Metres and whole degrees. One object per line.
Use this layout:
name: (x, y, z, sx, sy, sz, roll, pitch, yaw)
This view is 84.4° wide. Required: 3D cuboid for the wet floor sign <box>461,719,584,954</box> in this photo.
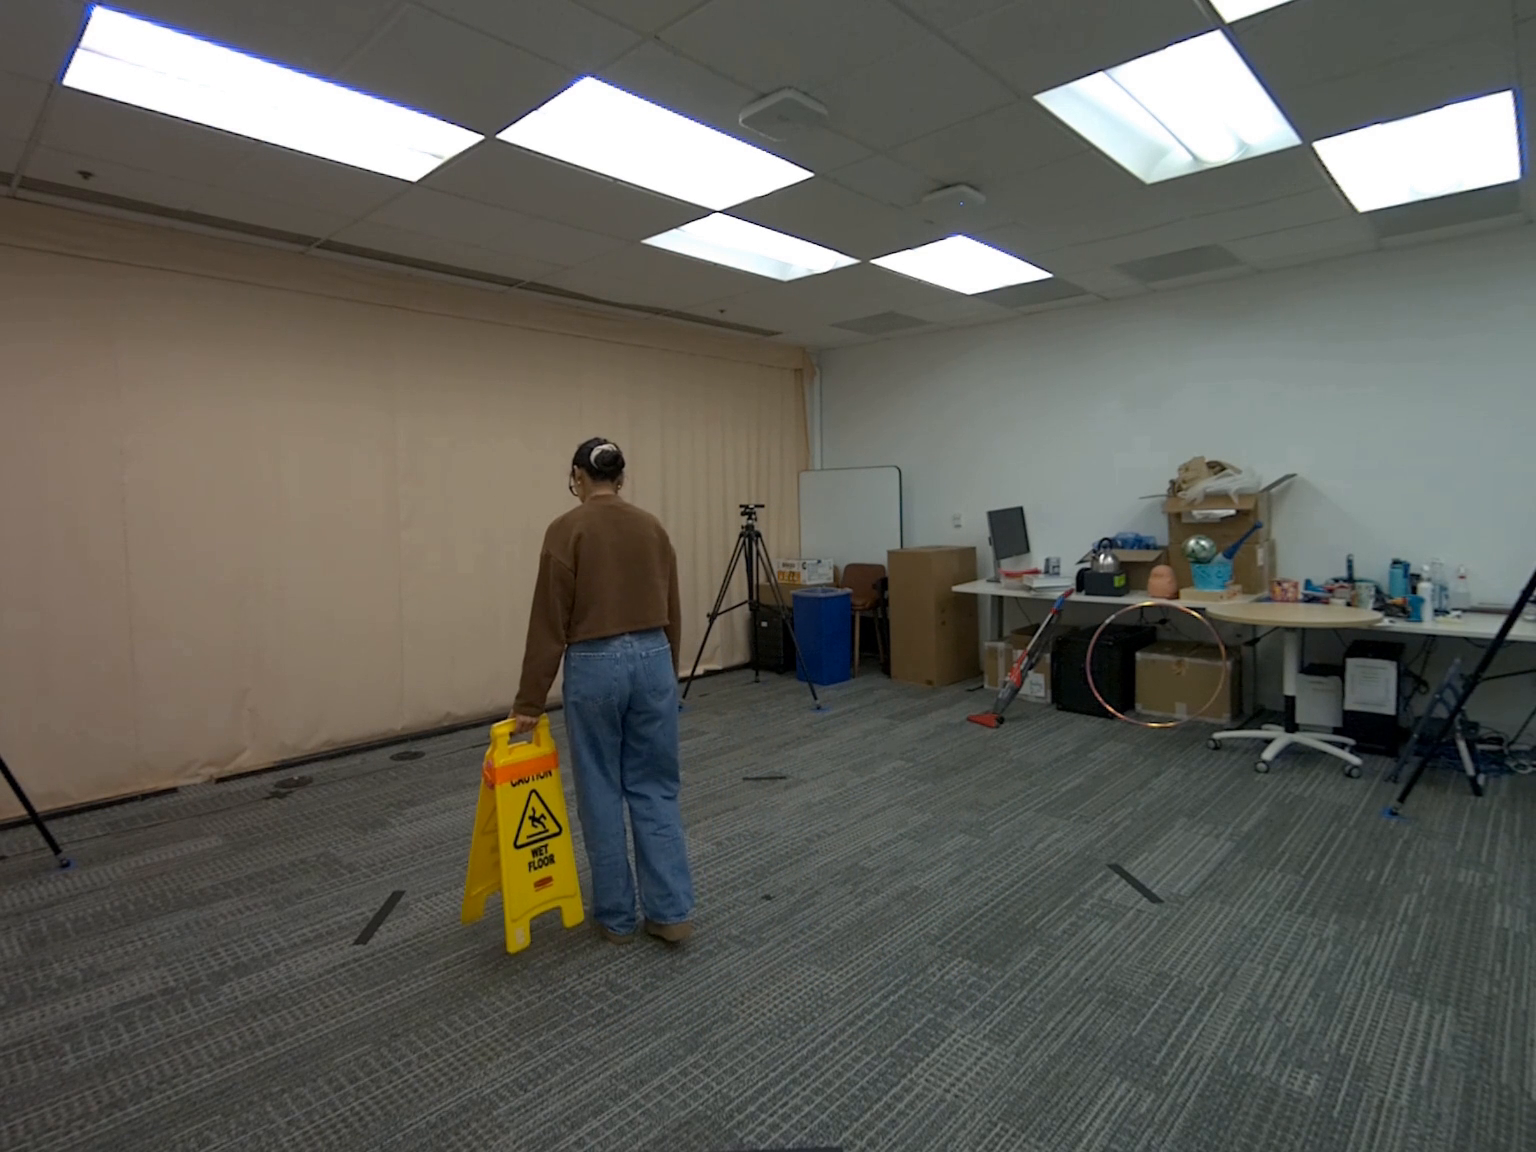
wet floor sign: (-0.769, 0.770, 2.617, 0.299, 0.644, 0.274, 3, 5, 41)
